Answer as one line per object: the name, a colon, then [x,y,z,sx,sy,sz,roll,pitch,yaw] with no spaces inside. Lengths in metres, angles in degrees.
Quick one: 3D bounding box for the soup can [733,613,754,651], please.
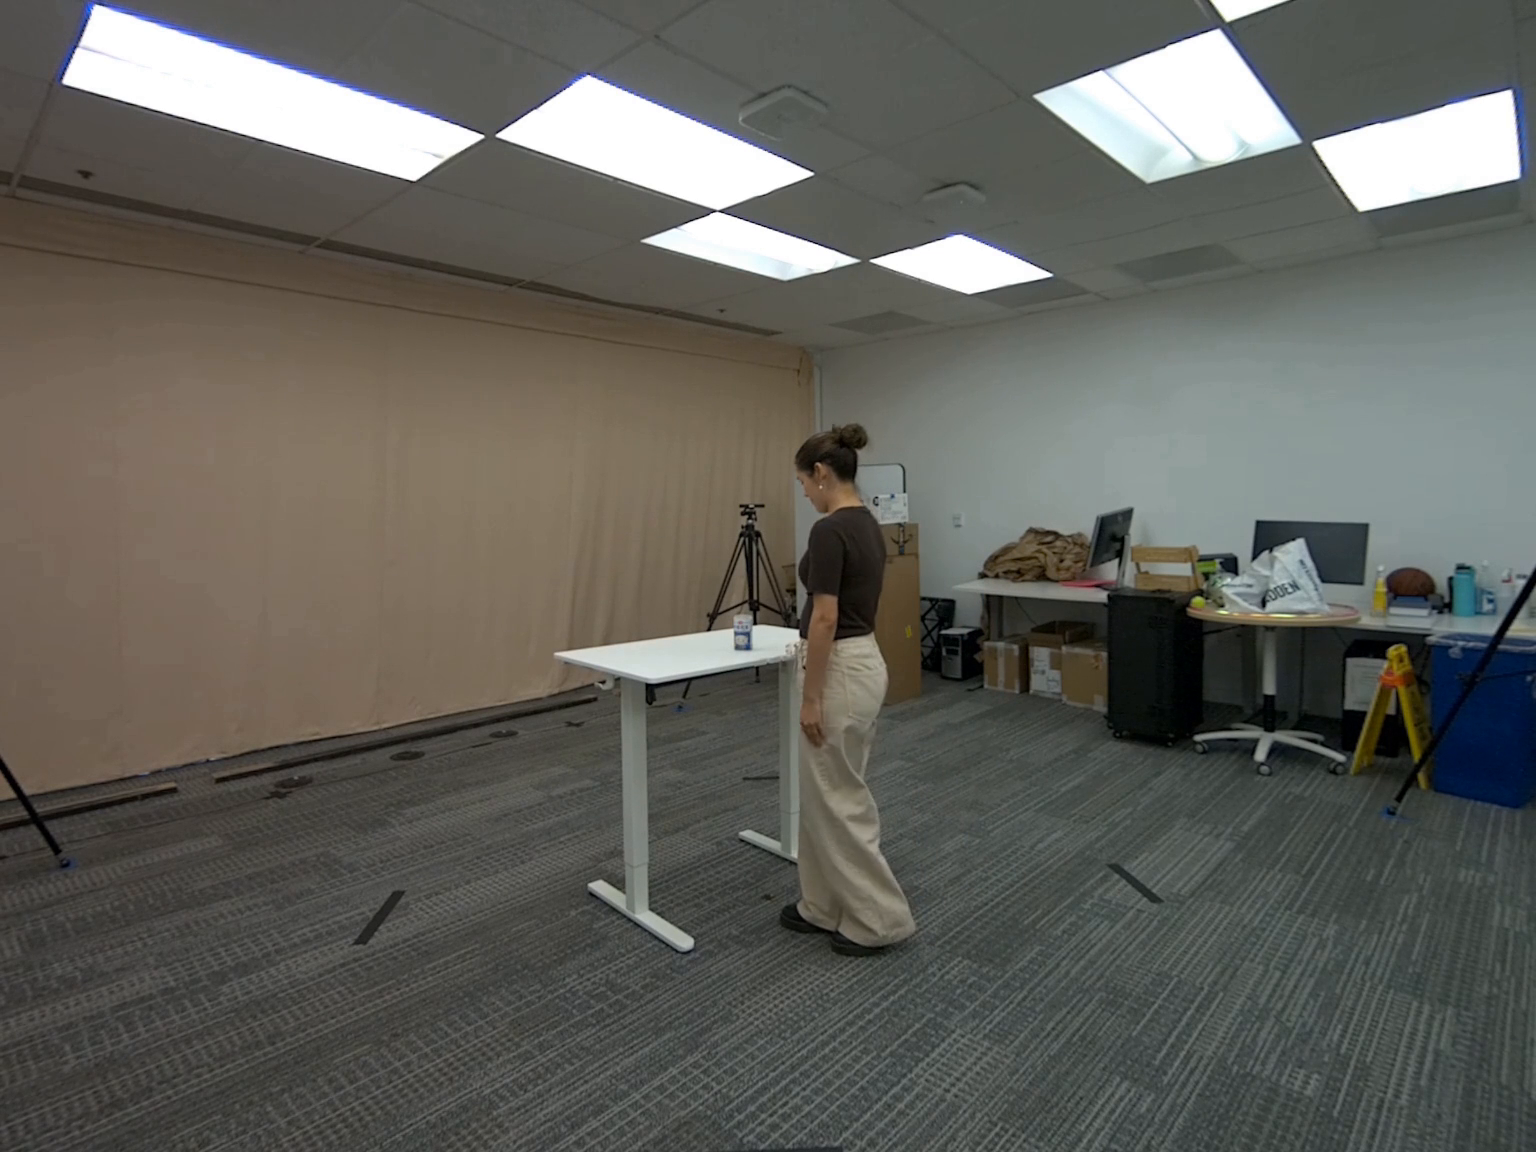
soup can: [-0.080,0.201,2.964,0.067,0.121,0.067,1,4,-2]
